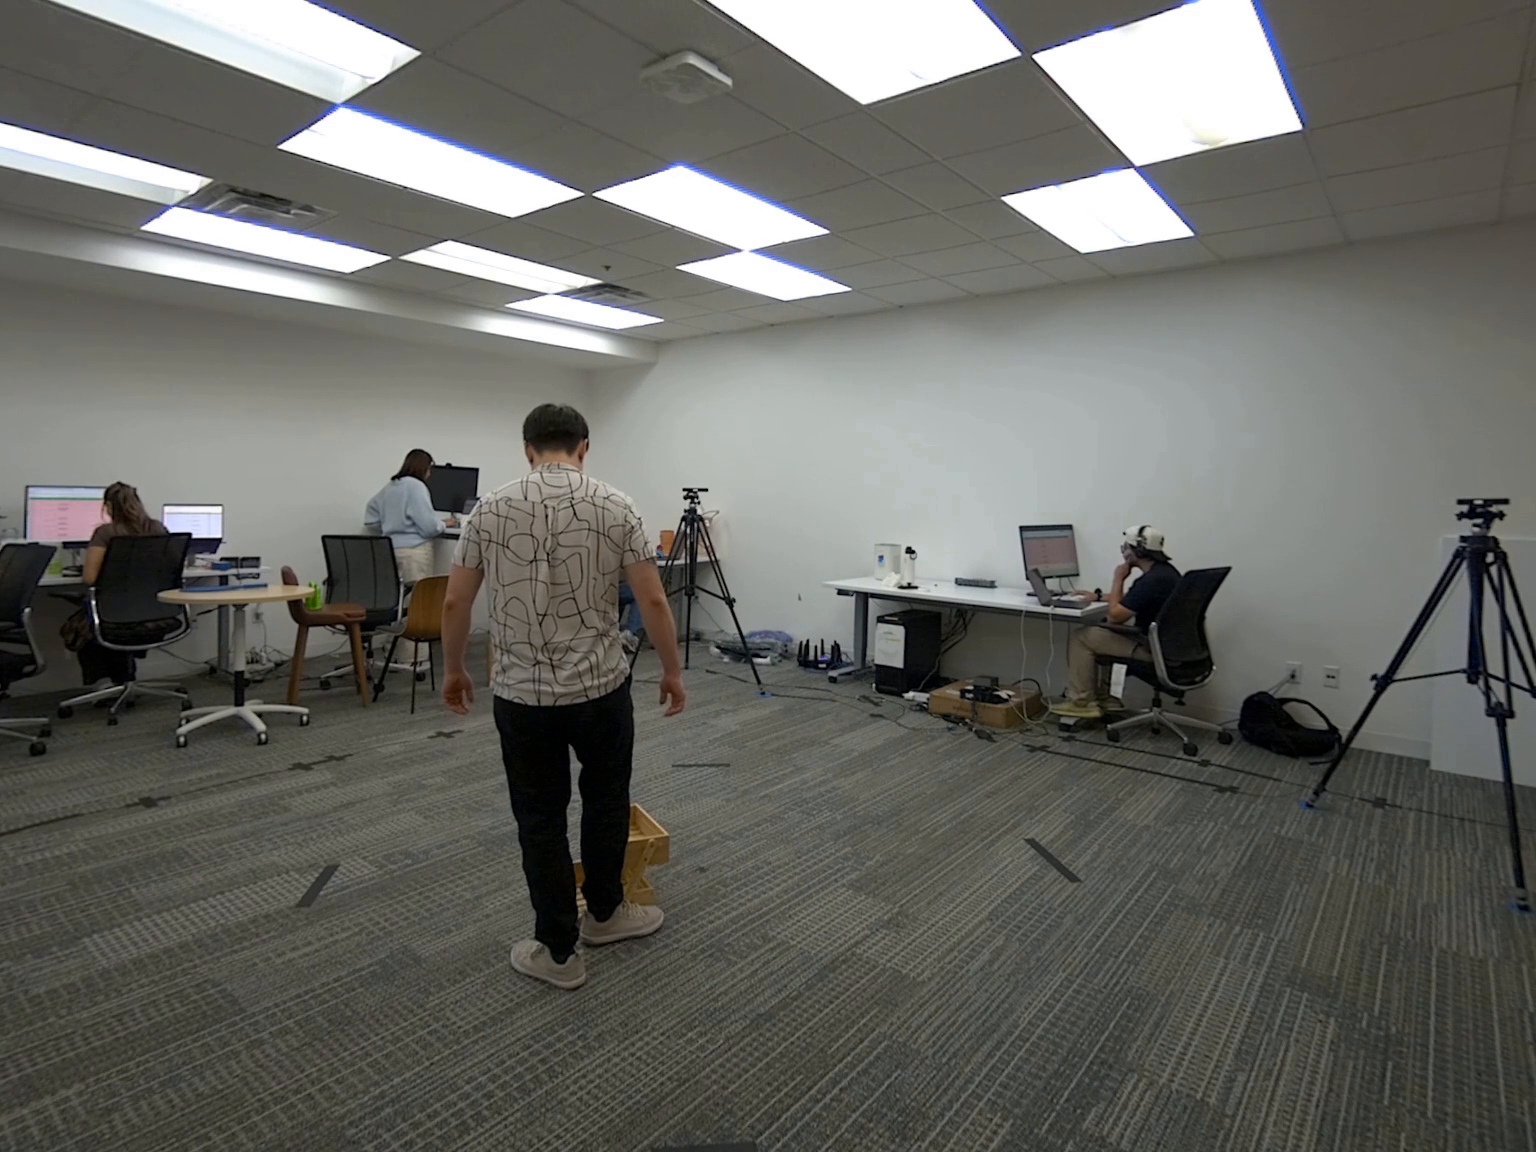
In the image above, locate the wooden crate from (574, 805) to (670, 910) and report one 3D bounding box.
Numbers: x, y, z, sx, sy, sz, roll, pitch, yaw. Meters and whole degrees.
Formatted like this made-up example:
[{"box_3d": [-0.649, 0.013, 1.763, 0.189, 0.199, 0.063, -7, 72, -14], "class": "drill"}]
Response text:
[{"box_3d": [-0.535, 0.956, 2.835, 0.294, 0.272, 0.334, -1, 5, -29], "class": "wooden crate"}]
